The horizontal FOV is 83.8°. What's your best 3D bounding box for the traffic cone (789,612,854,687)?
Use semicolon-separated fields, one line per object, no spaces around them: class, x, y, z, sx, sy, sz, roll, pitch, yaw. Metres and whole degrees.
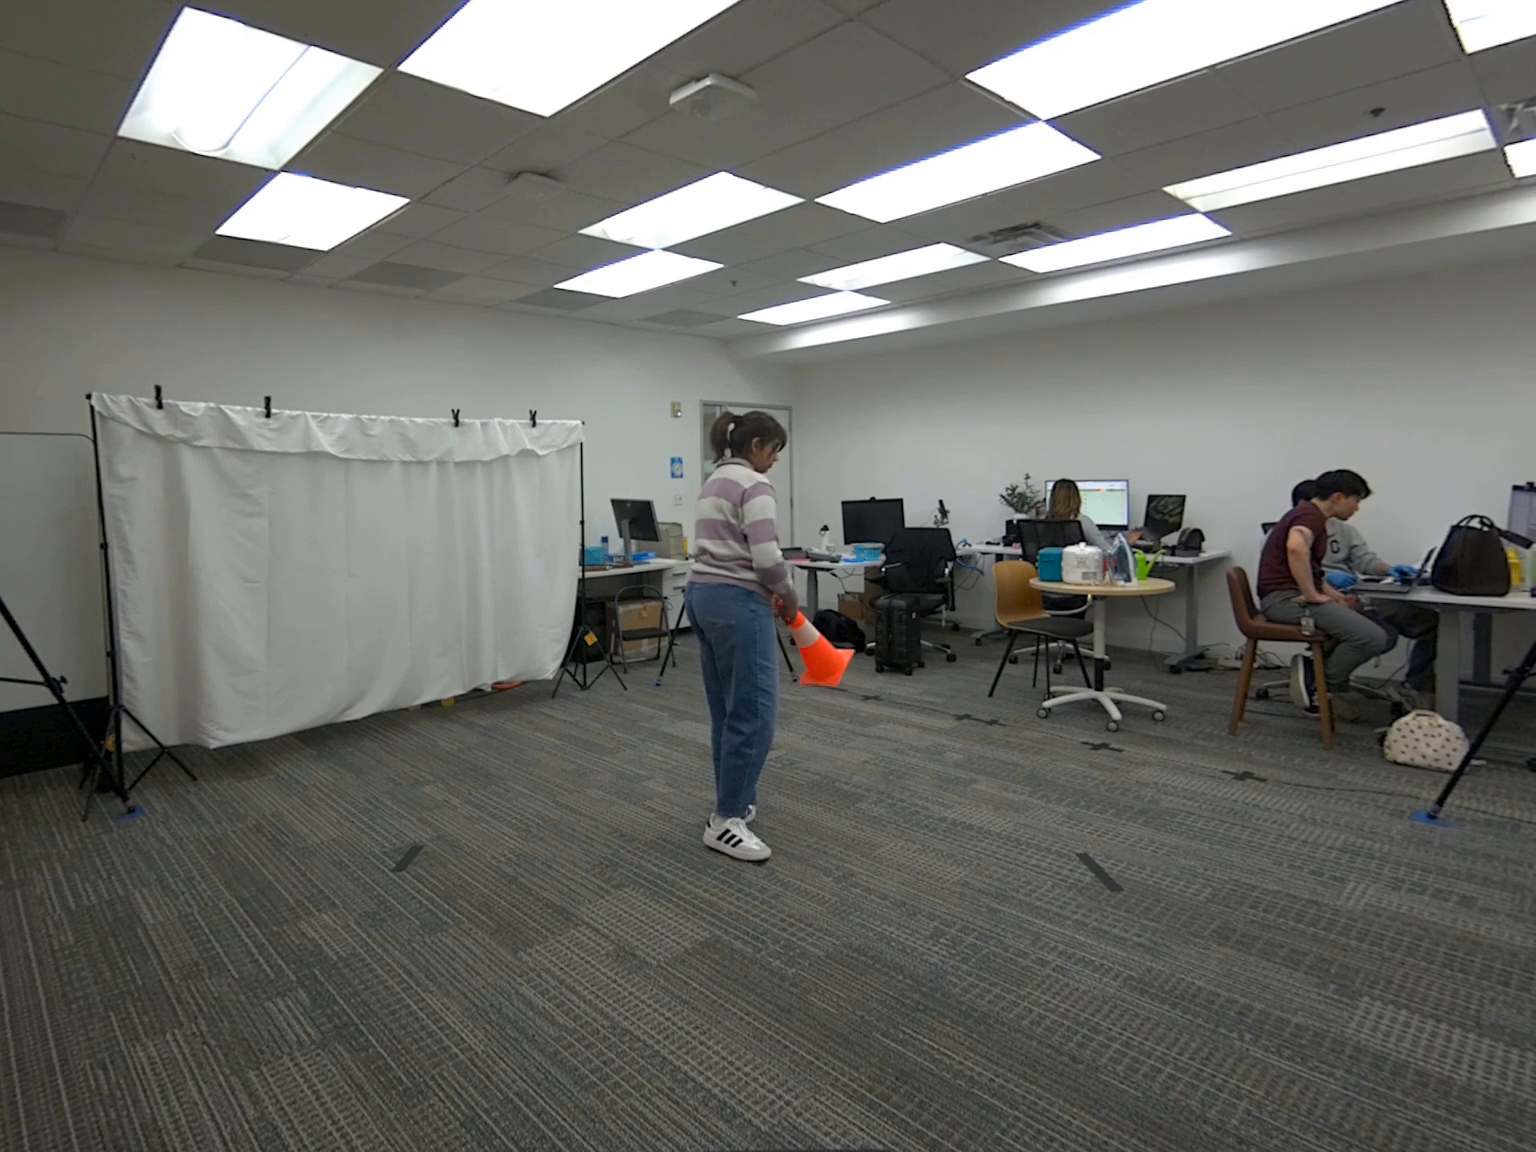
traffic cone;0.146;0.234;3.453;0.210;0.373;0.204;-9;33;43
